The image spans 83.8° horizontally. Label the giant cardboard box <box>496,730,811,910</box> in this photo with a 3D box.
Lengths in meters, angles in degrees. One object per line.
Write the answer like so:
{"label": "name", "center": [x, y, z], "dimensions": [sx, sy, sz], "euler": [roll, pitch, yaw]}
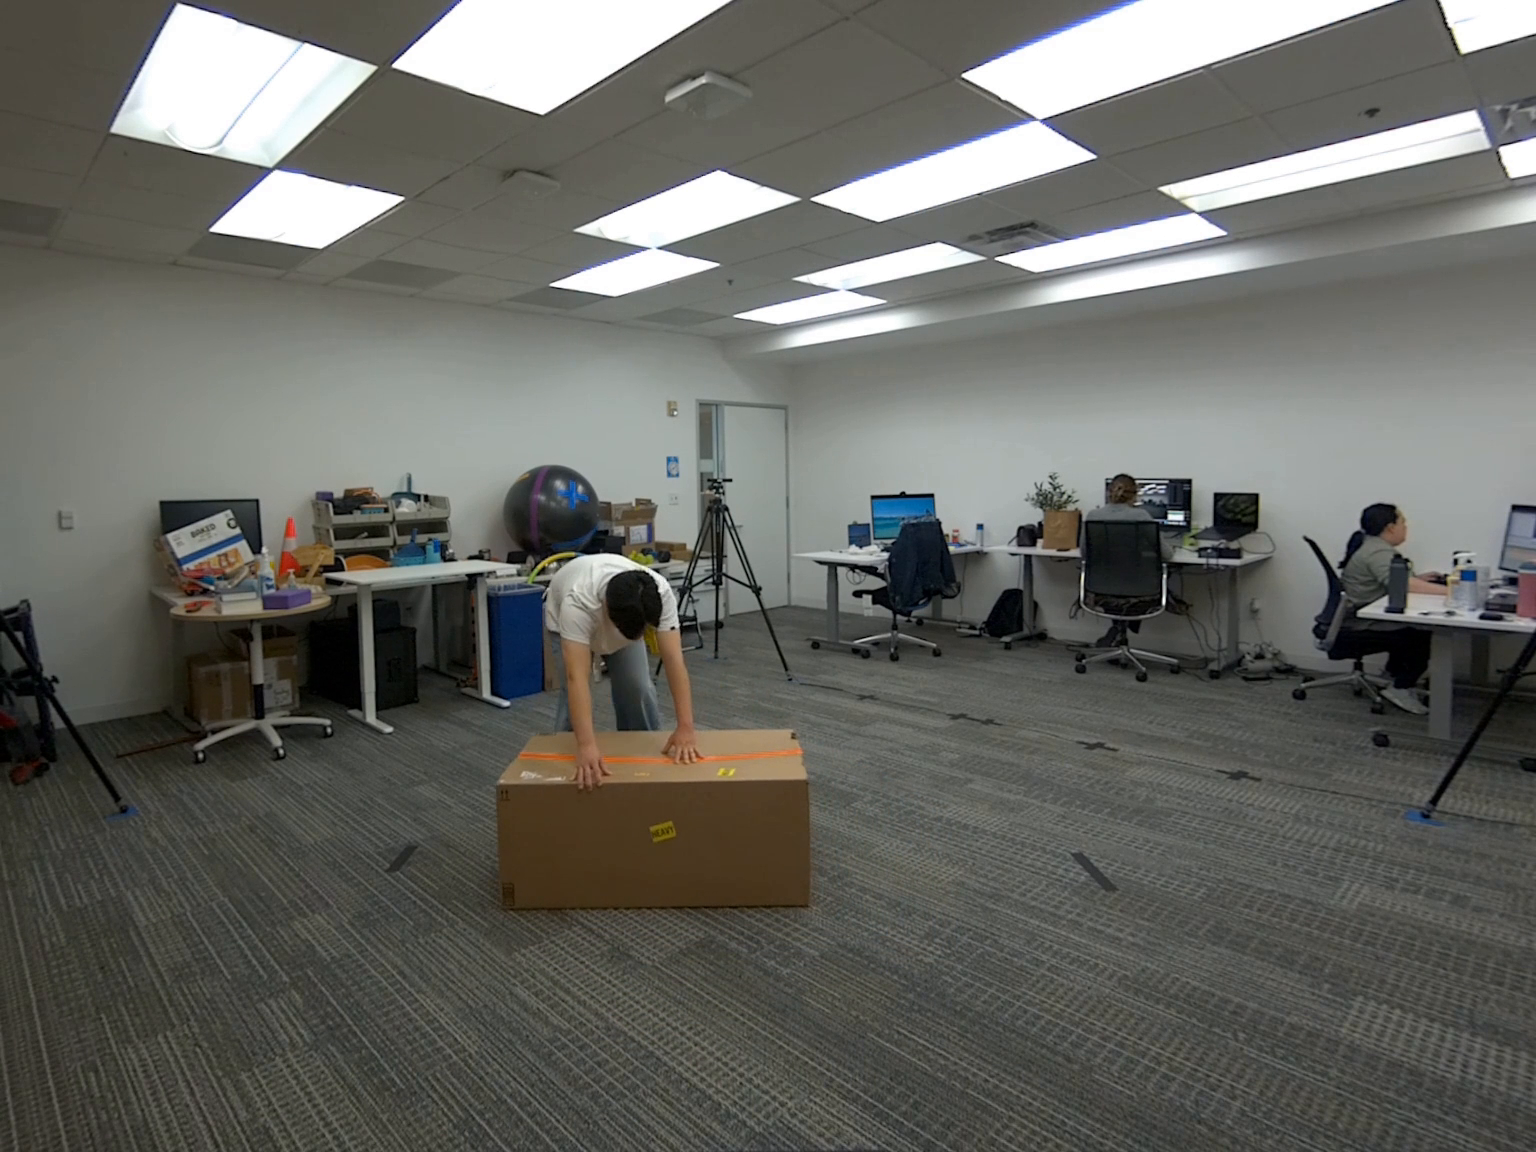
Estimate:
{"label": "giant cardboard box", "center": [-0.382, 0.843, 3.062], "dimensions": [1.026, 0.424, 0.580], "euler": [-2, 6, 0]}
